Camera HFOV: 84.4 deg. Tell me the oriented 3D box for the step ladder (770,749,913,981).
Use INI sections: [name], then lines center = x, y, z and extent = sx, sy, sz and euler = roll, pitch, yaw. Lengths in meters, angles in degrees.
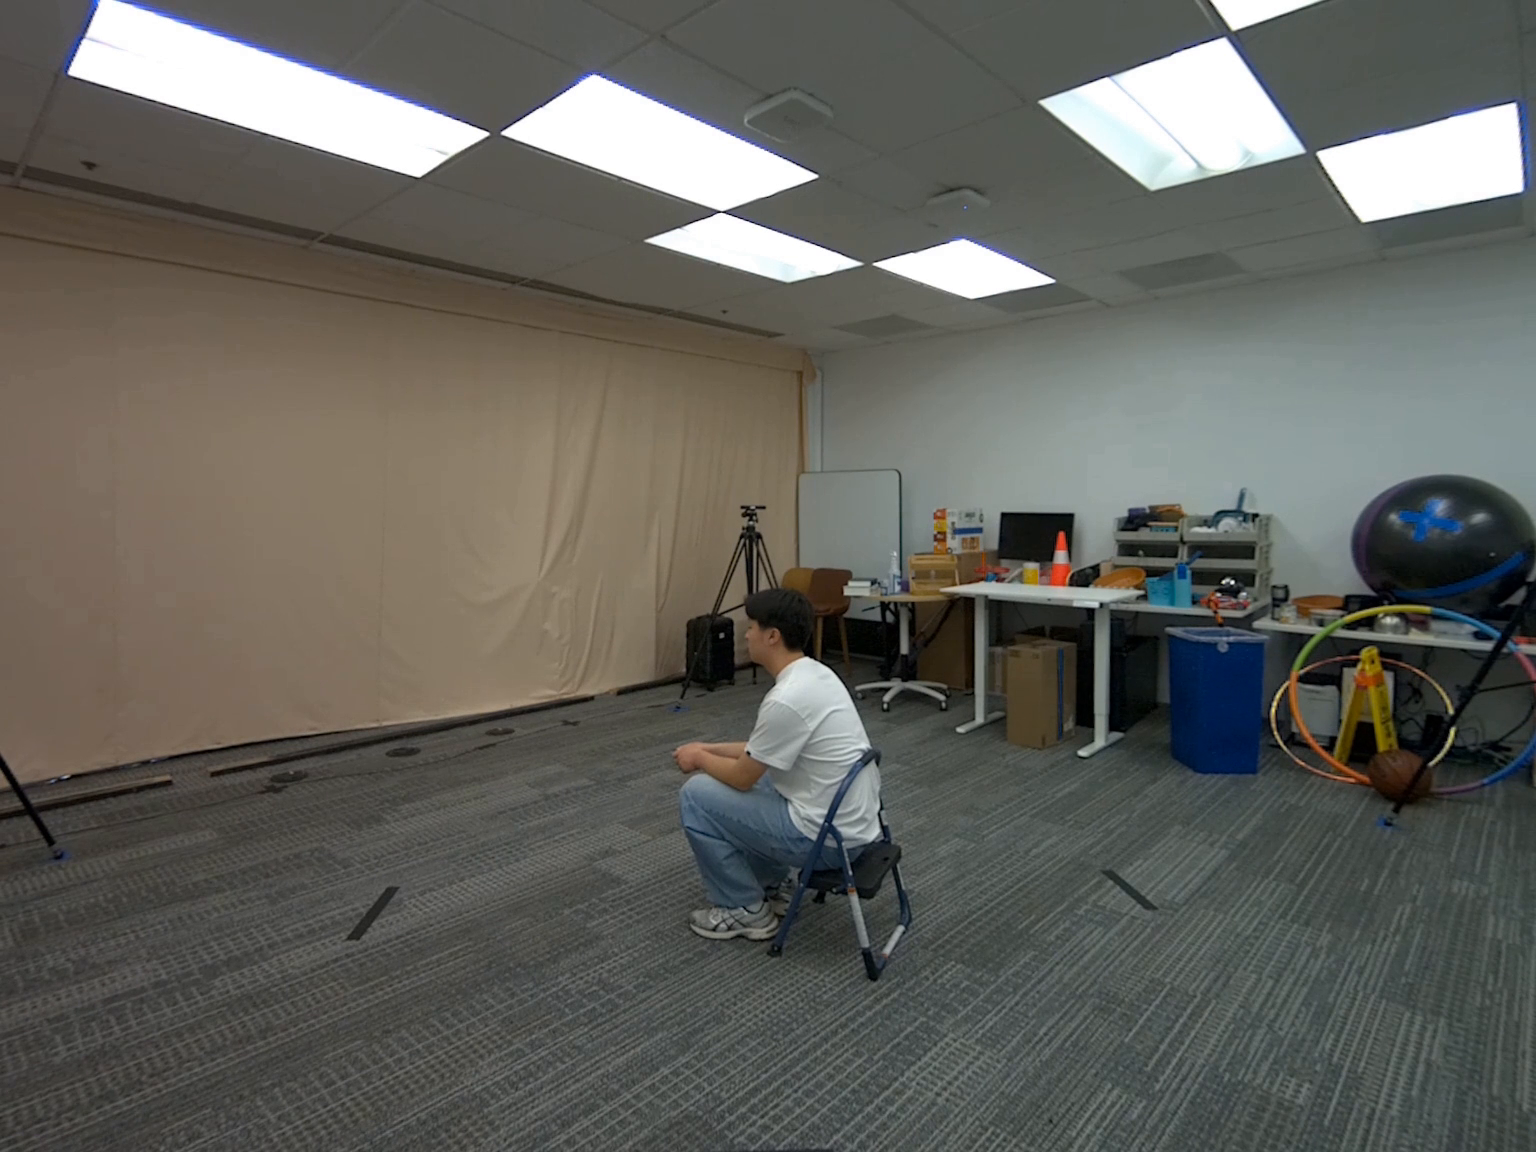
[step ladder]
center = 0.251, 0.868, 2.693
extent = 0.358, 0.604, 0.420
euler = 2, 5, 26
